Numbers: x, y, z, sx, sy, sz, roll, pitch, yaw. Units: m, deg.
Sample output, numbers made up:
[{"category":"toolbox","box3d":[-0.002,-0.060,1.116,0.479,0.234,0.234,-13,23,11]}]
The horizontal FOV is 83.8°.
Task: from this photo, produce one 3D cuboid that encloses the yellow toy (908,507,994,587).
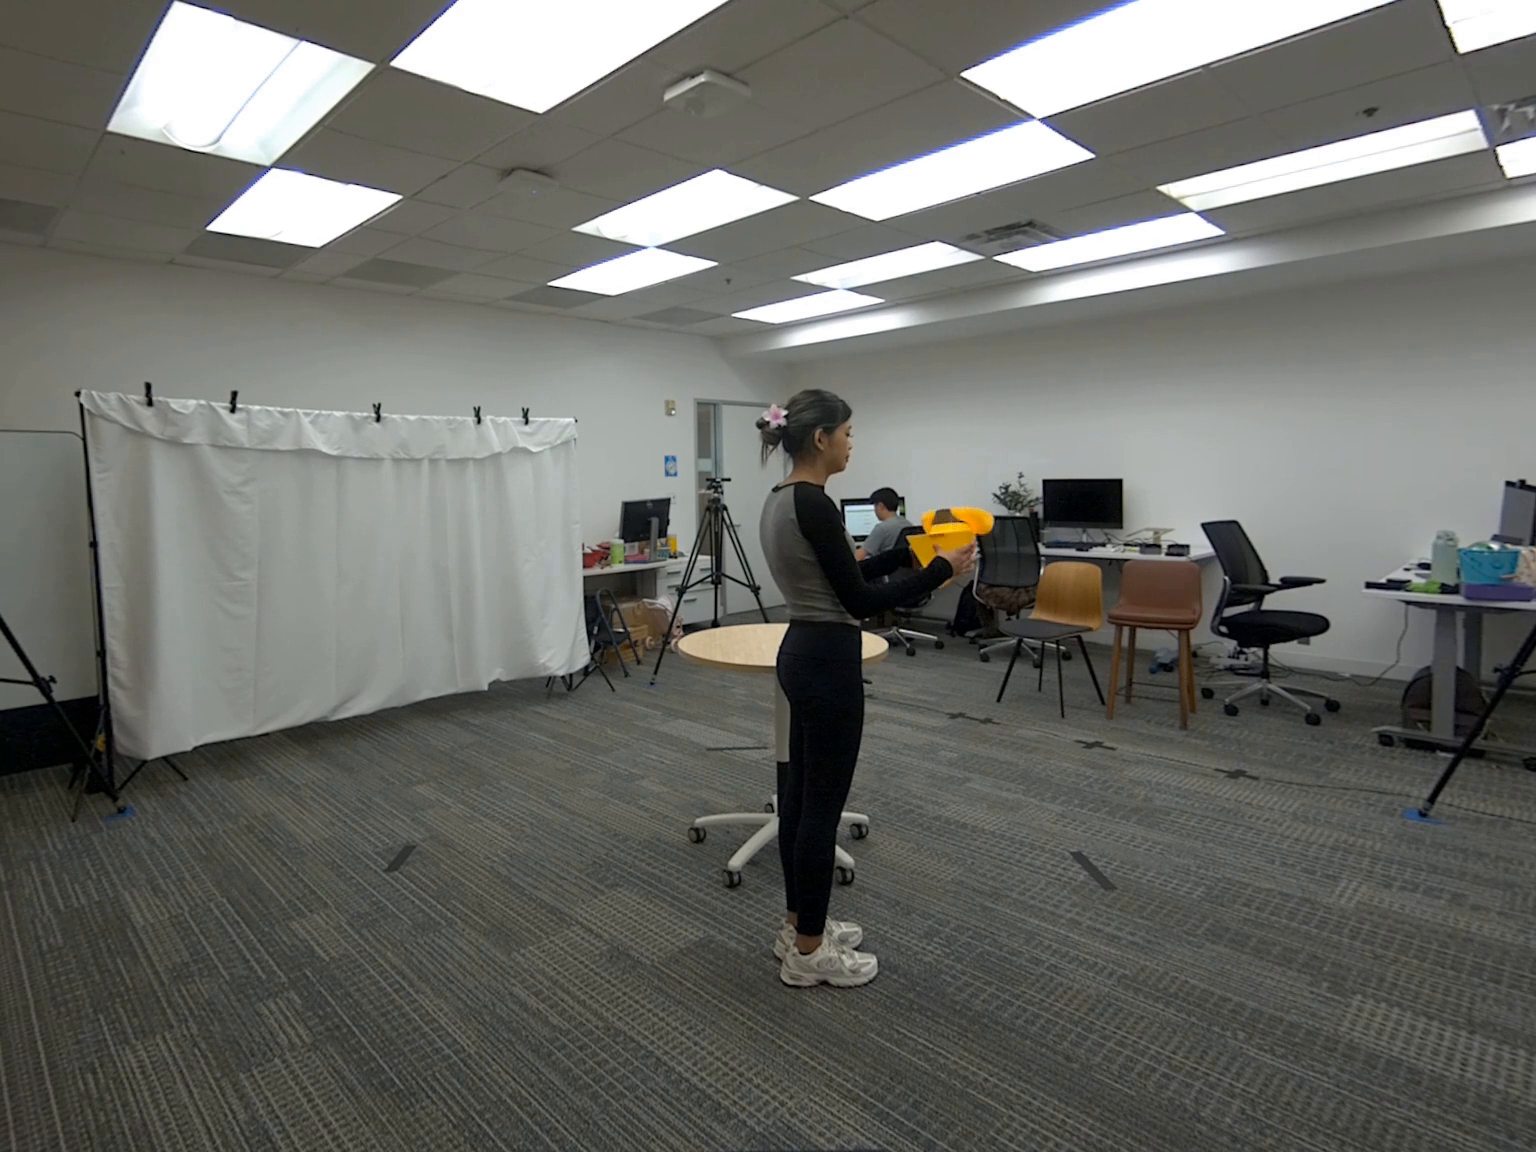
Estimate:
[{"category":"yellow toy","box3d":[0.541,-0.066,2.458,0.210,0.233,0.186,-7,-21,44]}]
